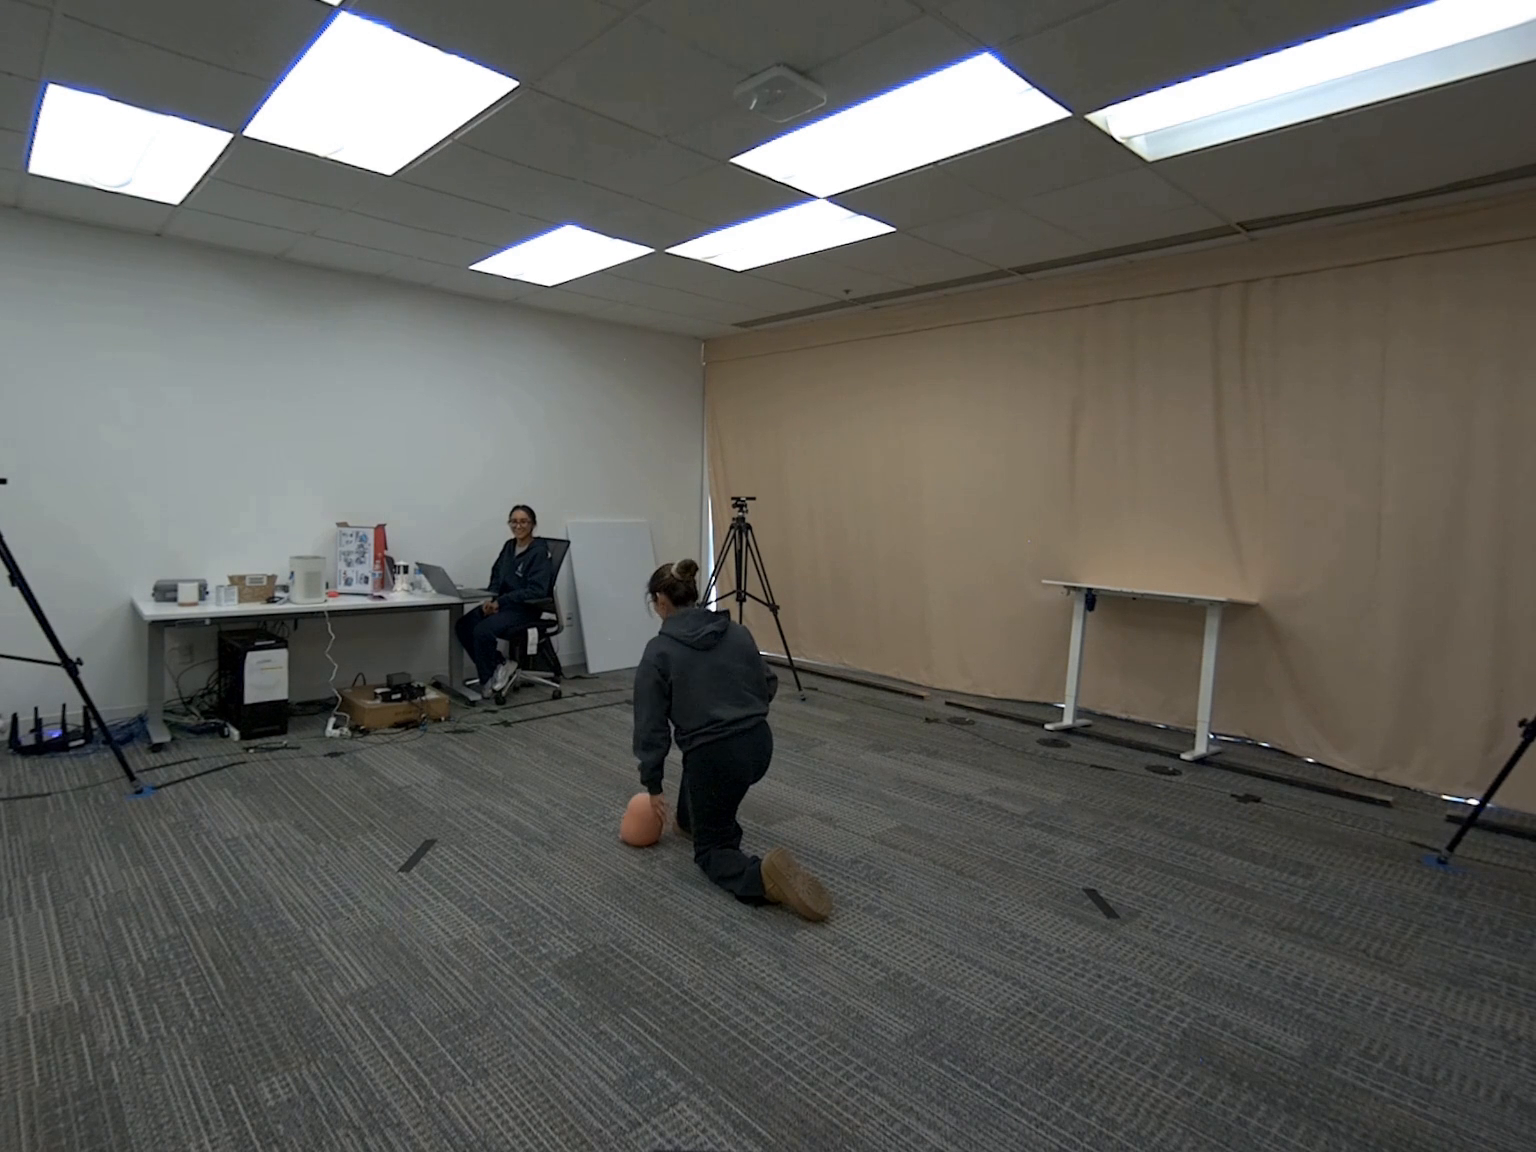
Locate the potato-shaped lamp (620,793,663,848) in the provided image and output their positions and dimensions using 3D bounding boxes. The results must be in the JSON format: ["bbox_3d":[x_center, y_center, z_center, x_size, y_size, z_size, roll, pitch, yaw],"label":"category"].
[{"bbox_3d":[-0.520,0.974,3.391,0.176,0.197,0.161,6,5,39],"label":"potato-shaped lamp"}]
